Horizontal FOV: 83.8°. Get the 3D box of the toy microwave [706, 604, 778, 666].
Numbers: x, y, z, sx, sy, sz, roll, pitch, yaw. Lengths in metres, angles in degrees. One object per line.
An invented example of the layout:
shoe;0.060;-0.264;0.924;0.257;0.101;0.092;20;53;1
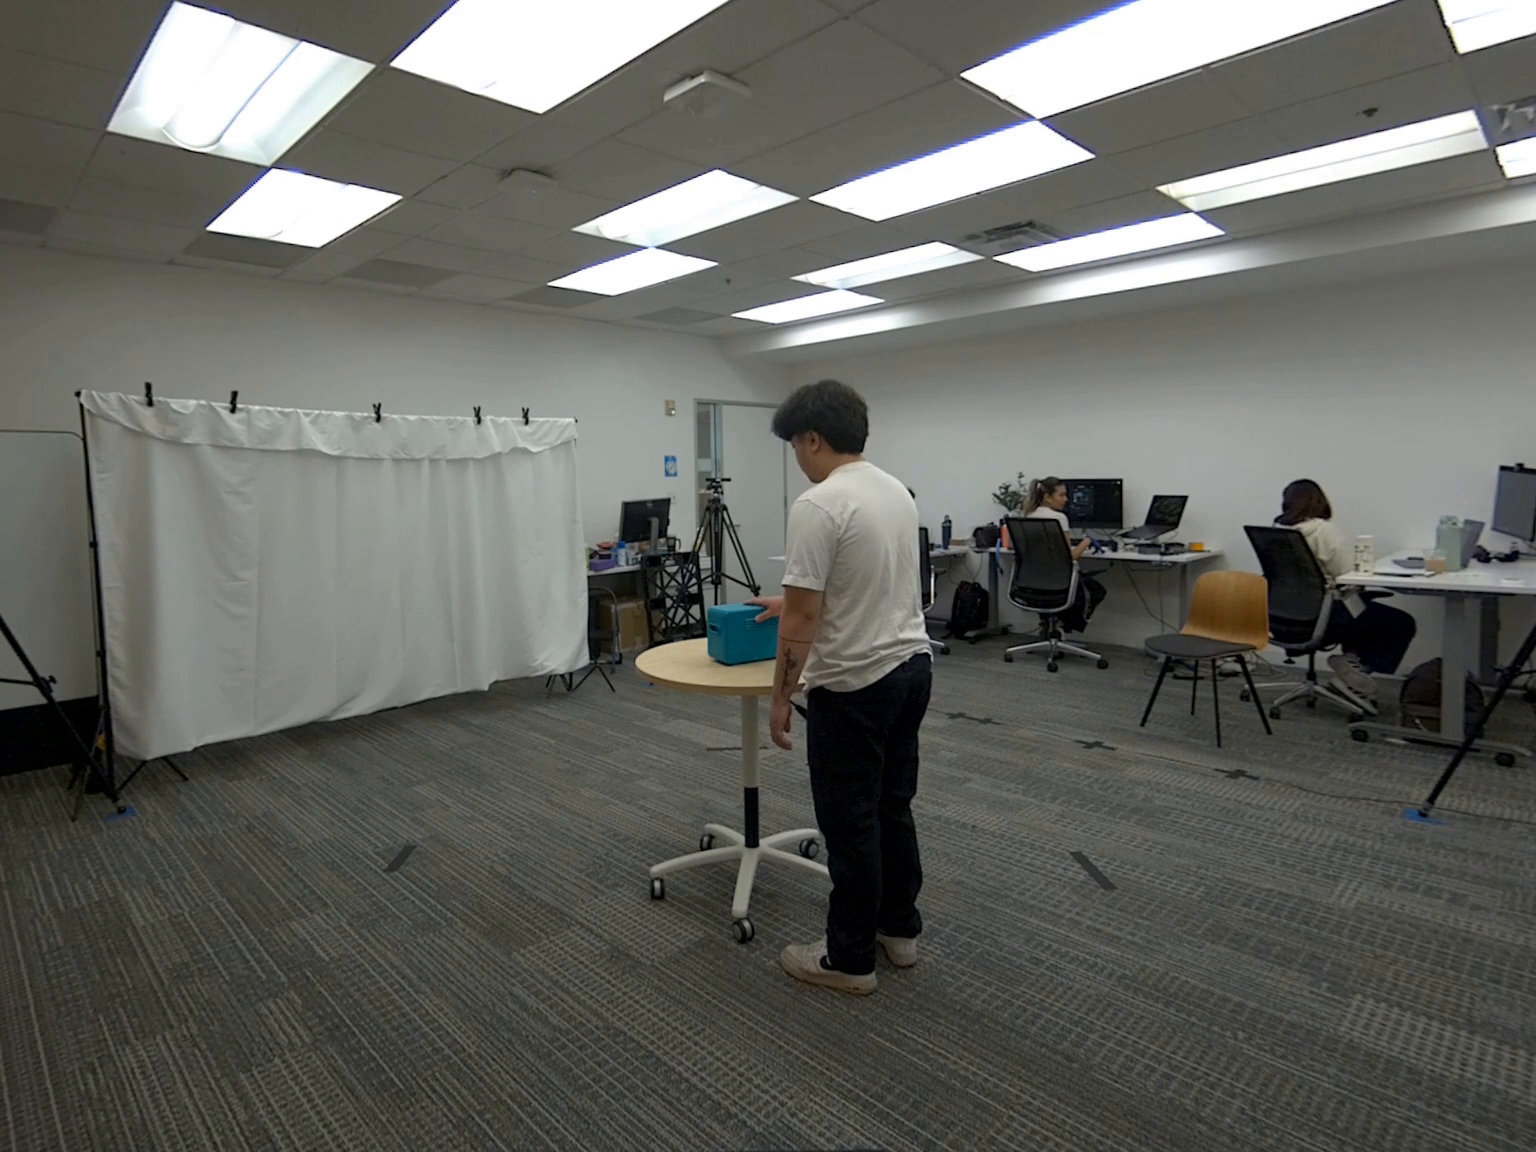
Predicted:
toy microwave;-0.056;0.184;2.870;0.279;0.183;0.157;-5;7;-30
